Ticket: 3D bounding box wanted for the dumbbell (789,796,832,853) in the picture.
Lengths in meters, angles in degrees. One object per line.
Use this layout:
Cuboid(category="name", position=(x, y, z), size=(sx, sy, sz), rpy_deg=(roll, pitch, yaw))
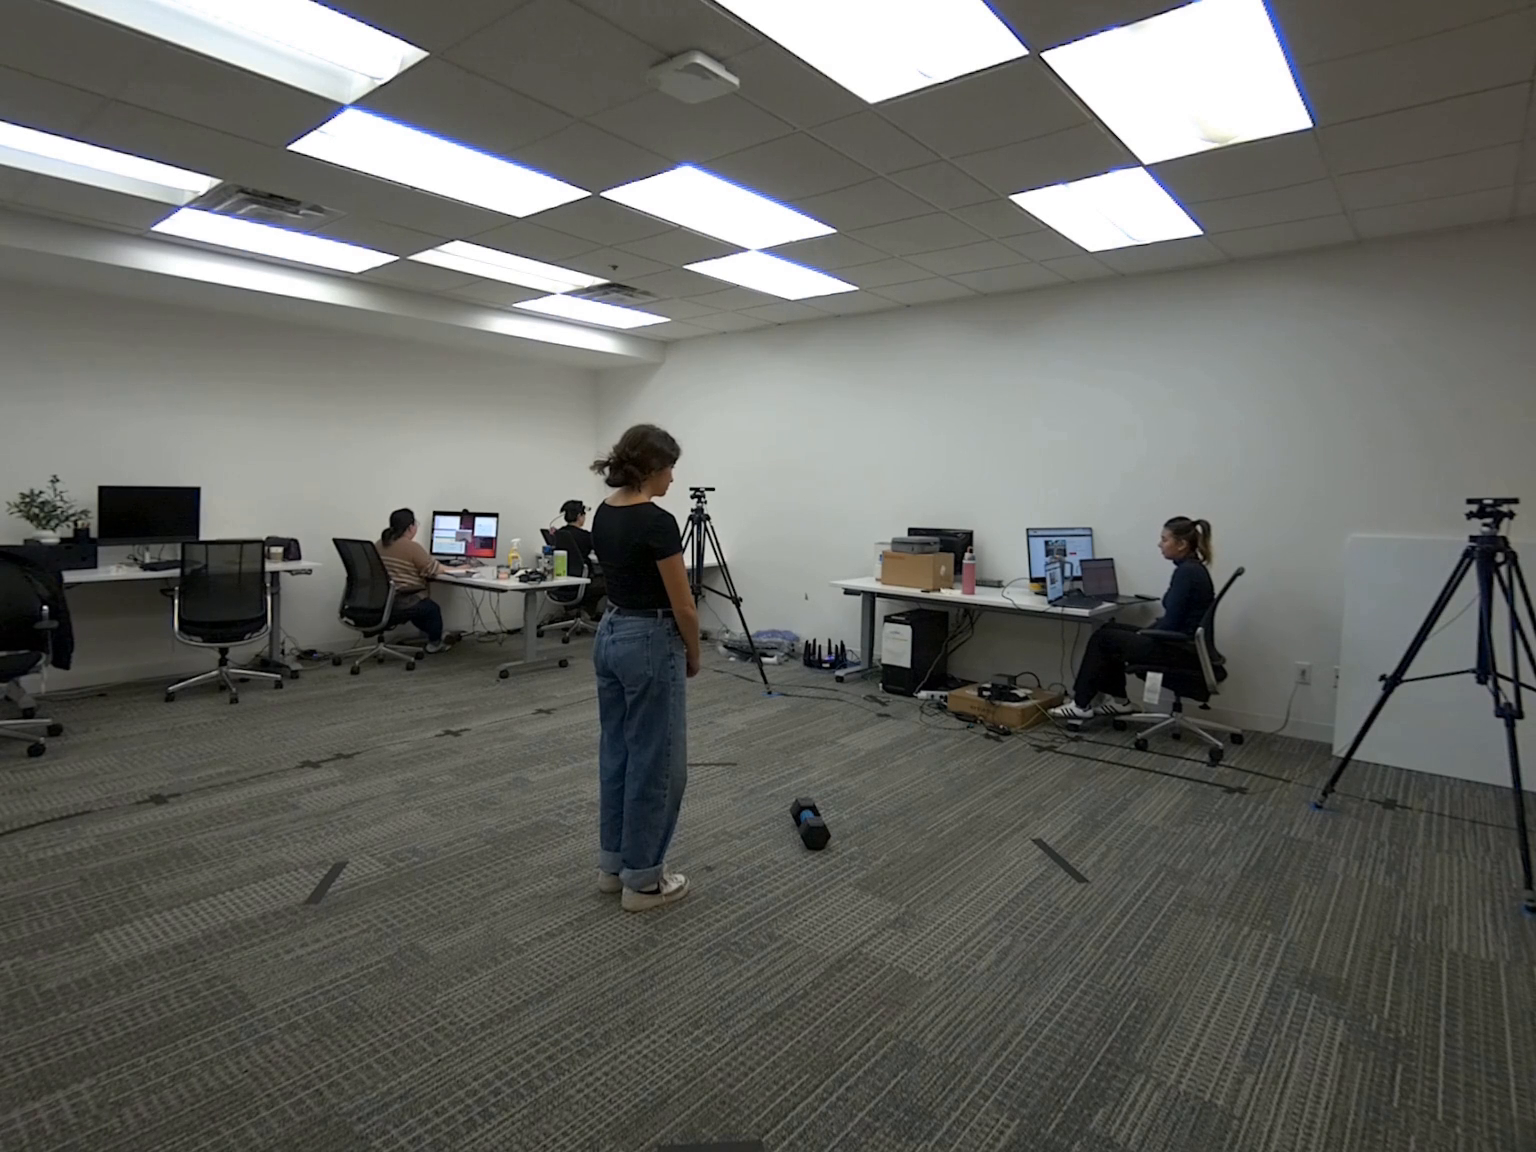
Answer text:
Cuboid(category="dumbbell", position=(0.161, 0.990, 3.427), size=(0.108, 0.122, 0.297), rpy_deg=(-30, 9, -4))
